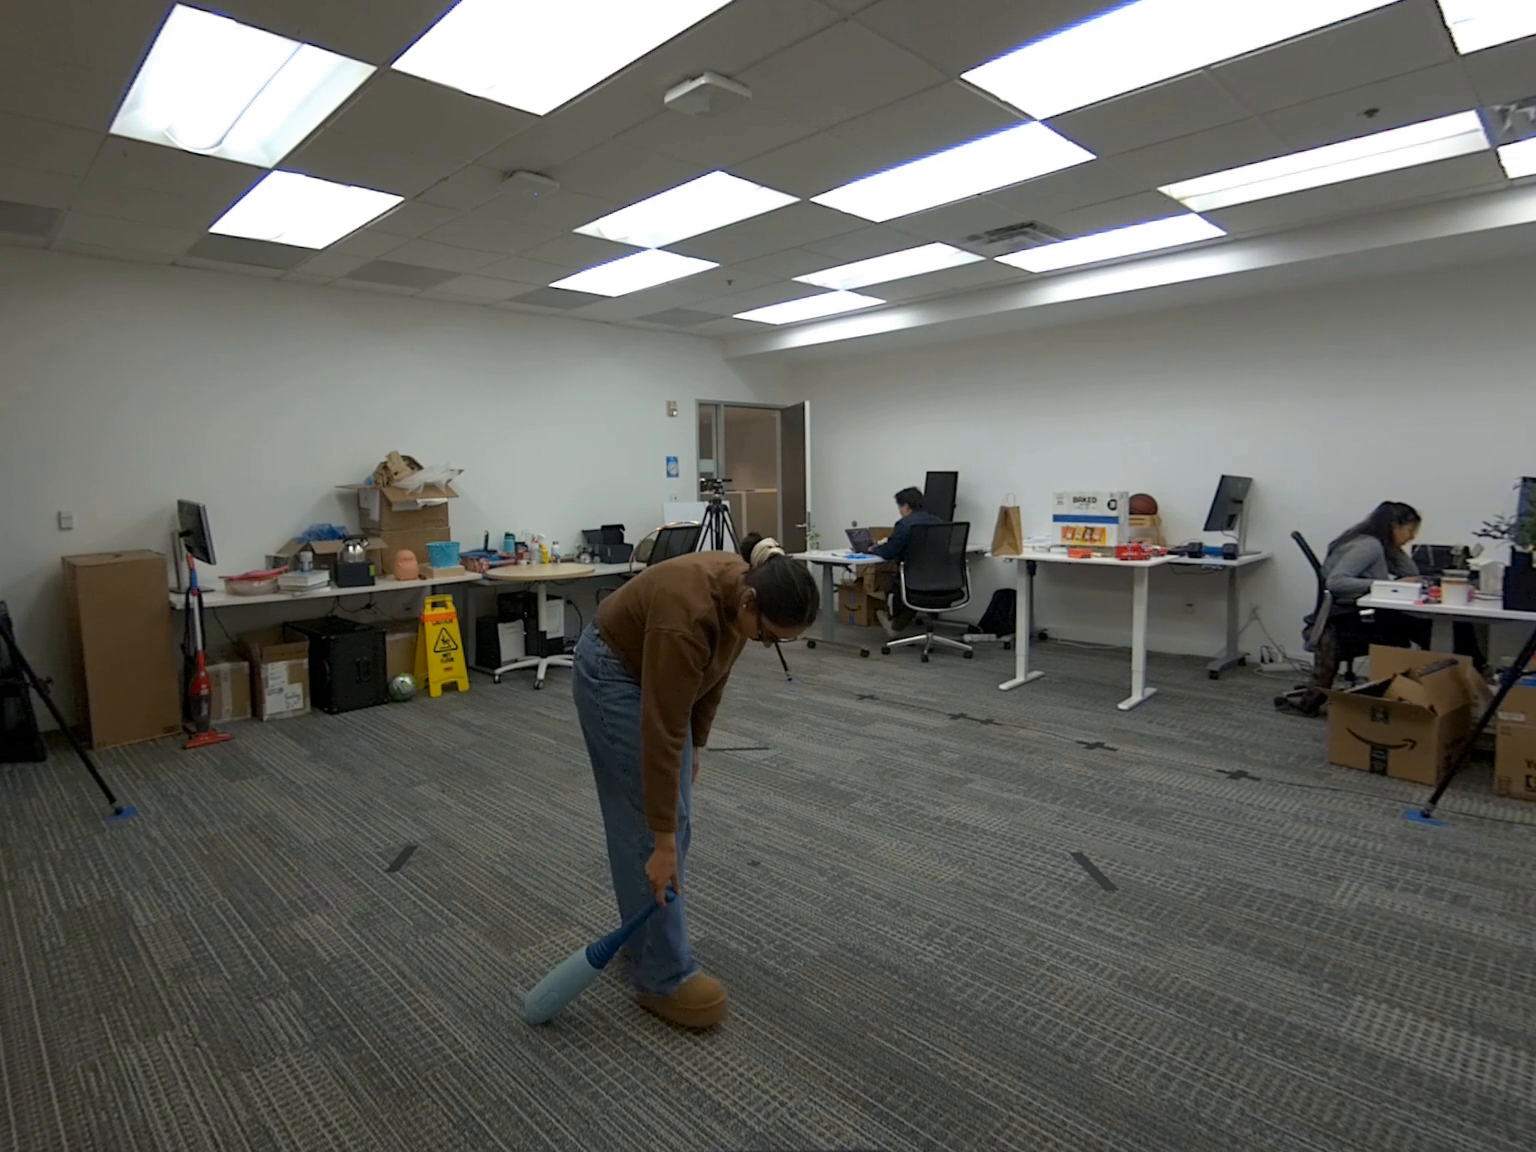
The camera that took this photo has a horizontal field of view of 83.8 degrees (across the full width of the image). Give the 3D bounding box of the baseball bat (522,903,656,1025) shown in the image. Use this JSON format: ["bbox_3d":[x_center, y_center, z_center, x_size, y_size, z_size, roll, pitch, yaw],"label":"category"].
[{"bbox_3d":[-0.419,0.967,2.151,0.544,0.090,0.087,-43,-12,20],"label":"baseball bat"}]
